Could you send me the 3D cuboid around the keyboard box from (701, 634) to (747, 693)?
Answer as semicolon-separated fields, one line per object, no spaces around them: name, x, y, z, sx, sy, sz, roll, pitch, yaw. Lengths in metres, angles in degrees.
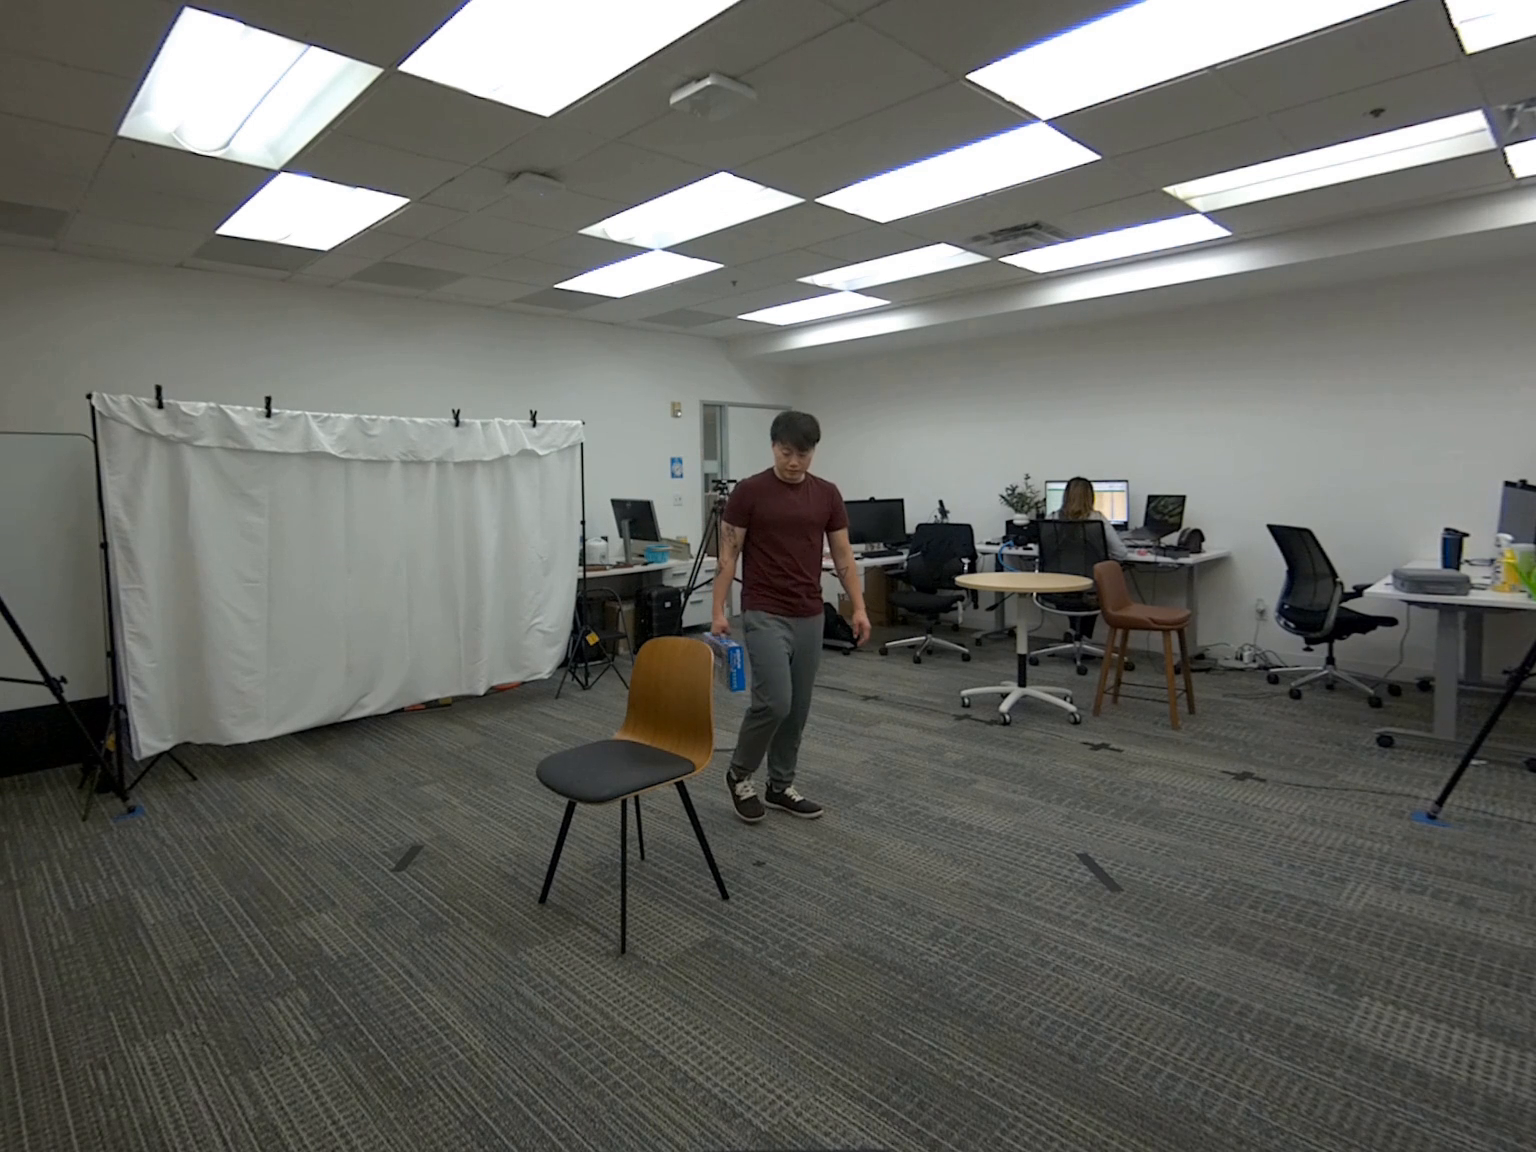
keyboard box;-0.185;0.340;3.460;0.058;0.175;0.444;-4;5;-16
